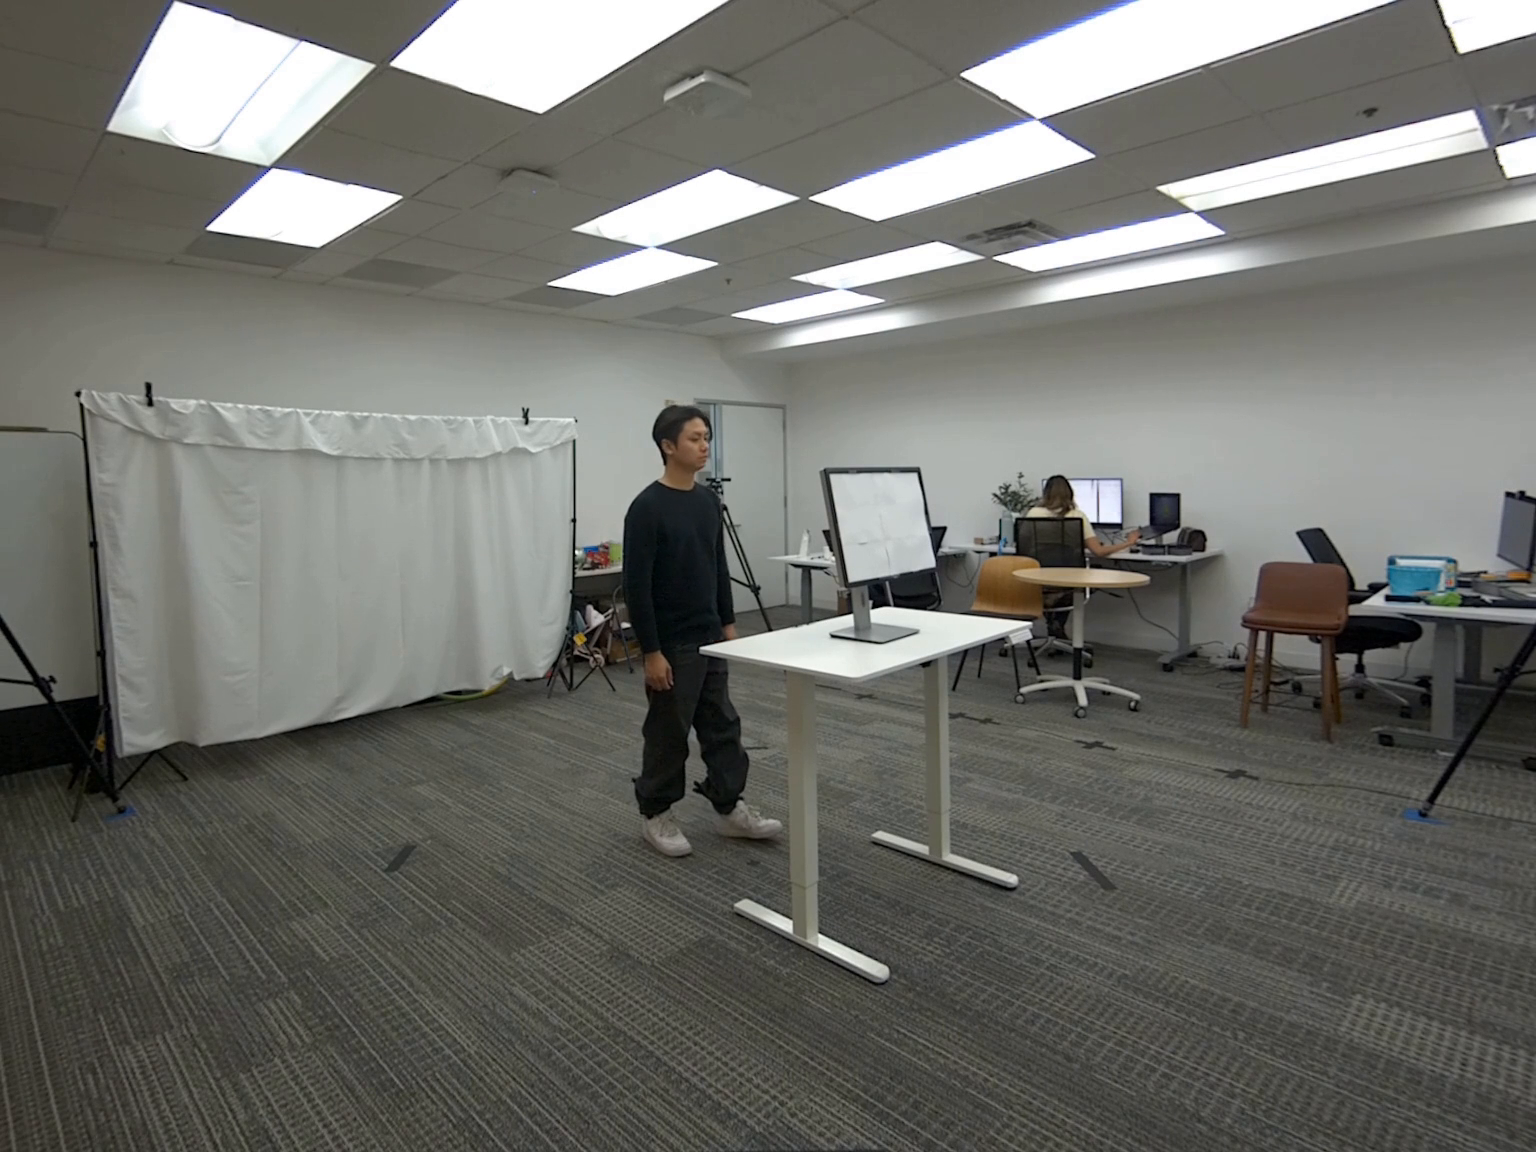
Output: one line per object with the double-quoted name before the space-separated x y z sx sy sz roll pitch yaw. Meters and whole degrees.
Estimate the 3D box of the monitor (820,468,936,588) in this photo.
"monitor" 0.347 -0.076 2.748 0.180 0.513 0.516 9 9 38
